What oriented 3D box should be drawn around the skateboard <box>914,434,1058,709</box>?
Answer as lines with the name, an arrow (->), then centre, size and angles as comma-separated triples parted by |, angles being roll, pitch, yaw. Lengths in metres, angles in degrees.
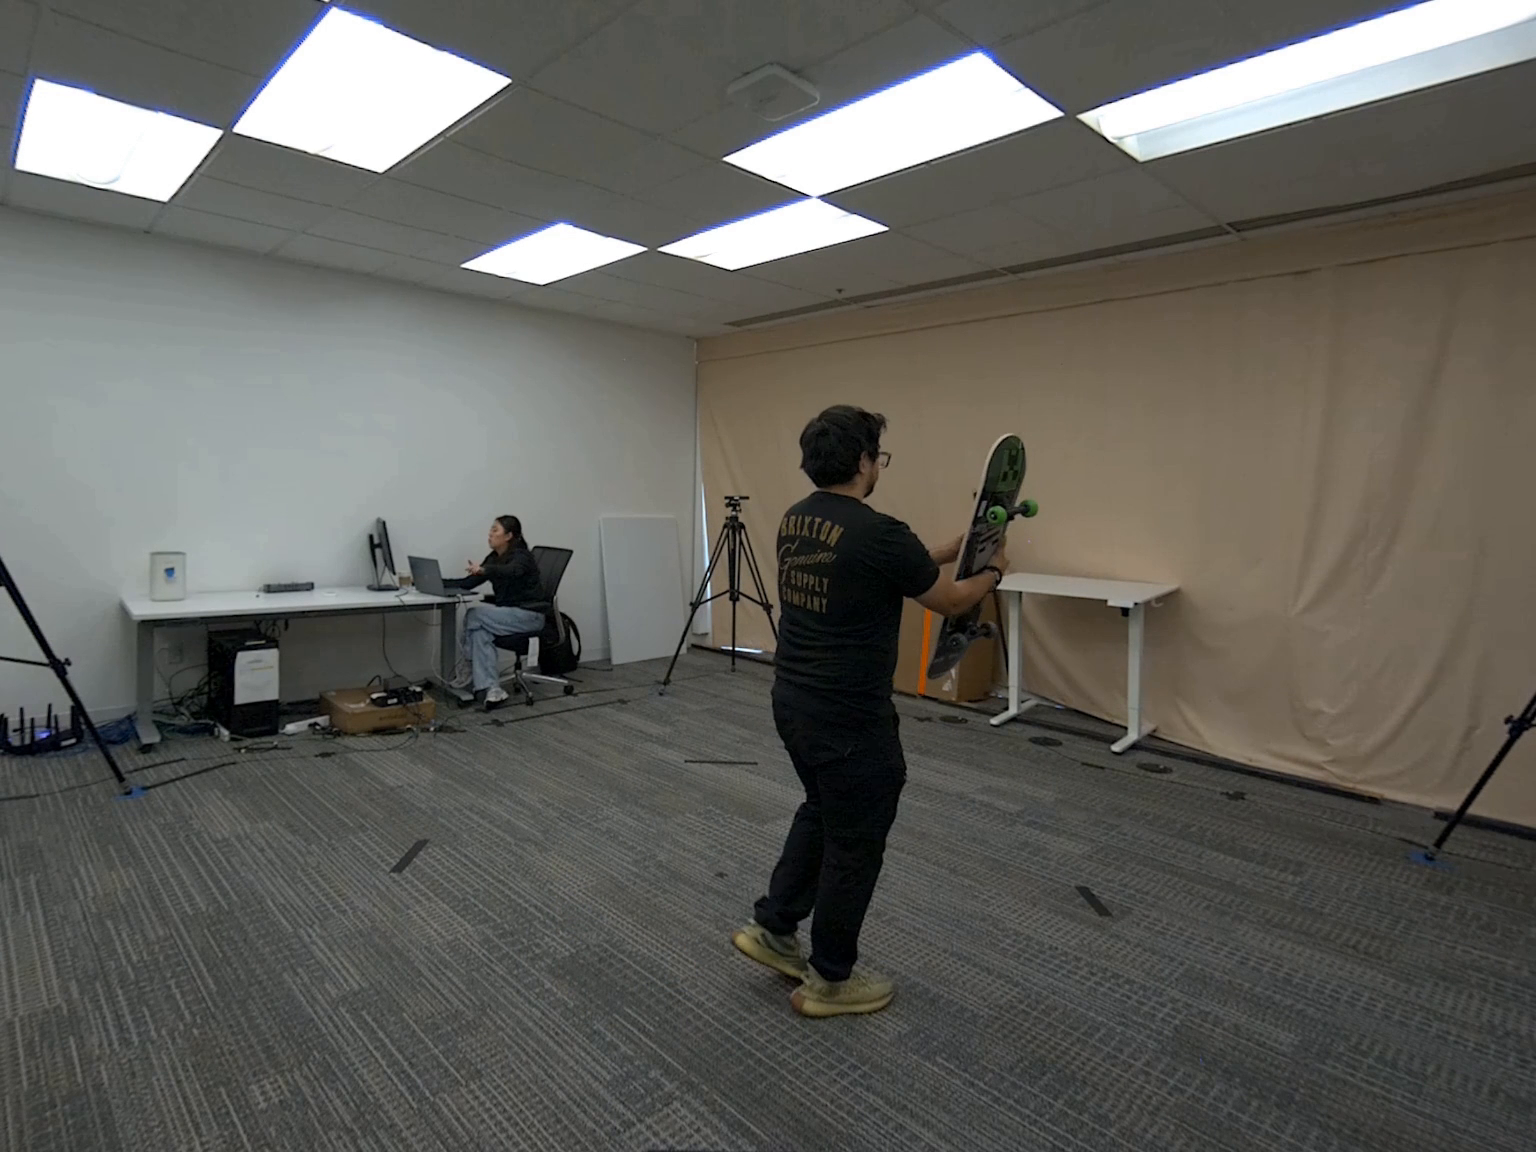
skateboard -> 0.607, -0.005, 2.406 | 0.190, 0.775, 0.114 | -12, 32, -40
